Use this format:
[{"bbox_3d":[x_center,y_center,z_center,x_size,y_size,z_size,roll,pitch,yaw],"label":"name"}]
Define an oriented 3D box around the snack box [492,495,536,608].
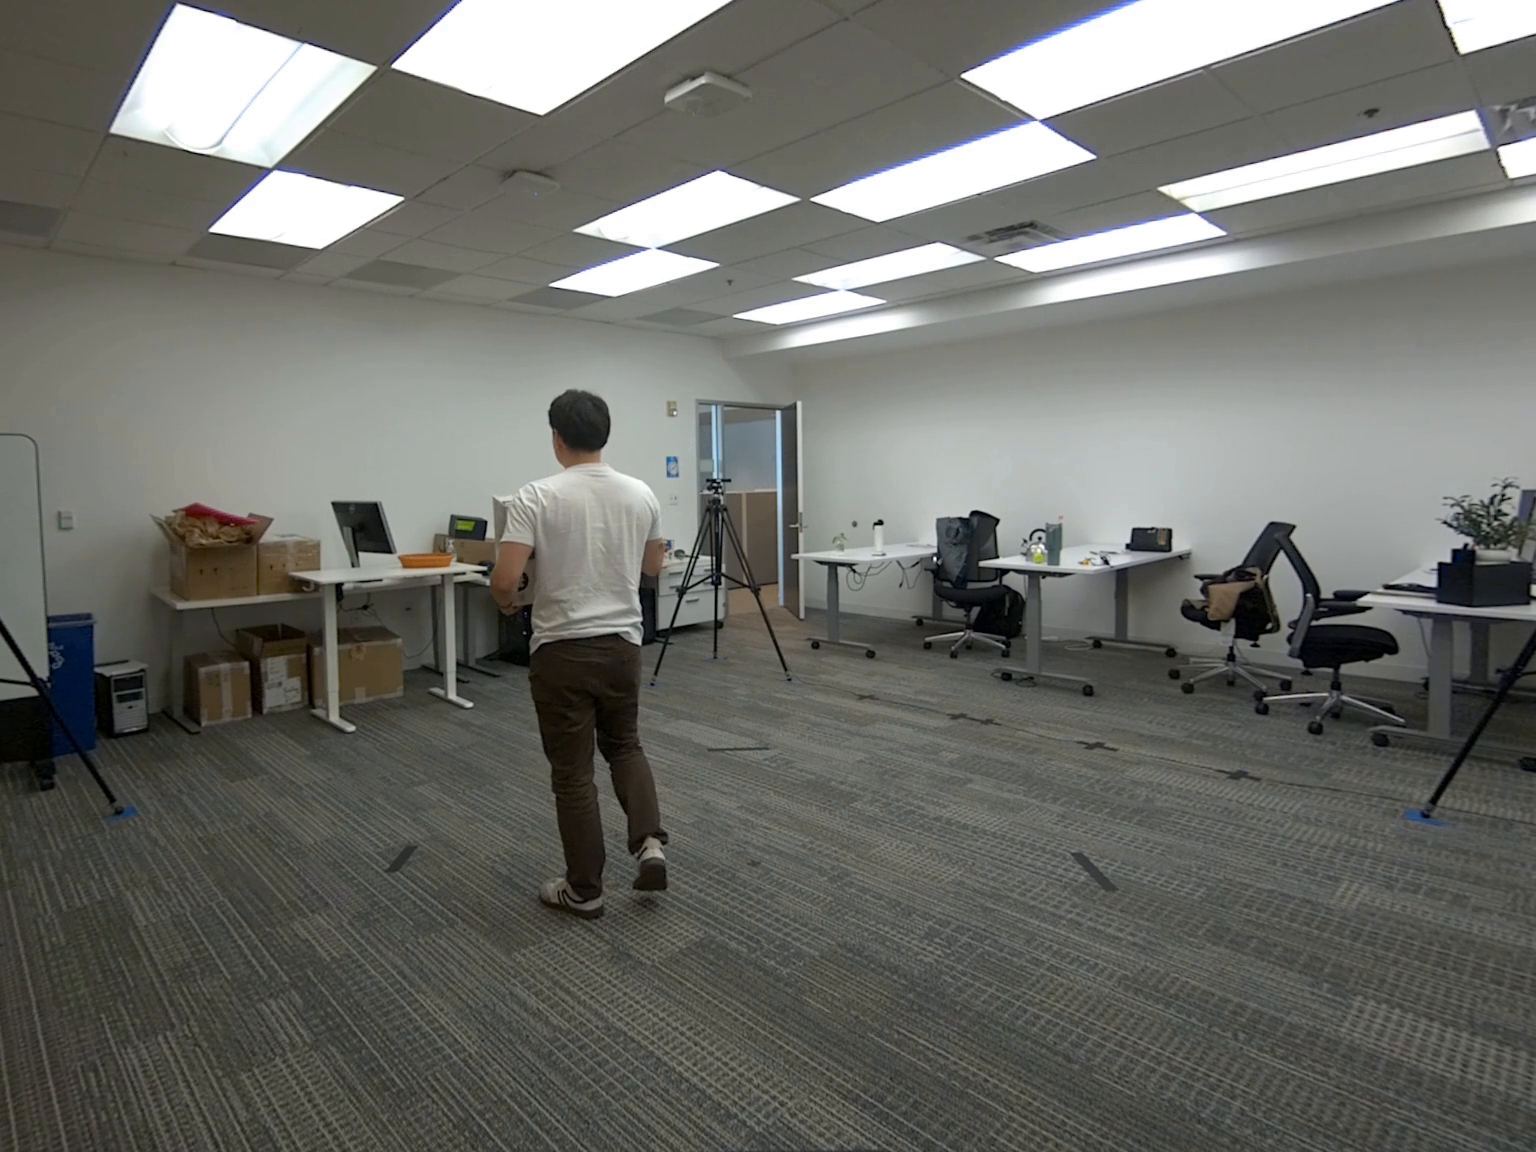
[{"bbox_3d":[-0.706,-0.113,2.942,0.397,0.336,0.213,-7,16,-28],"label":"snack box"}]
